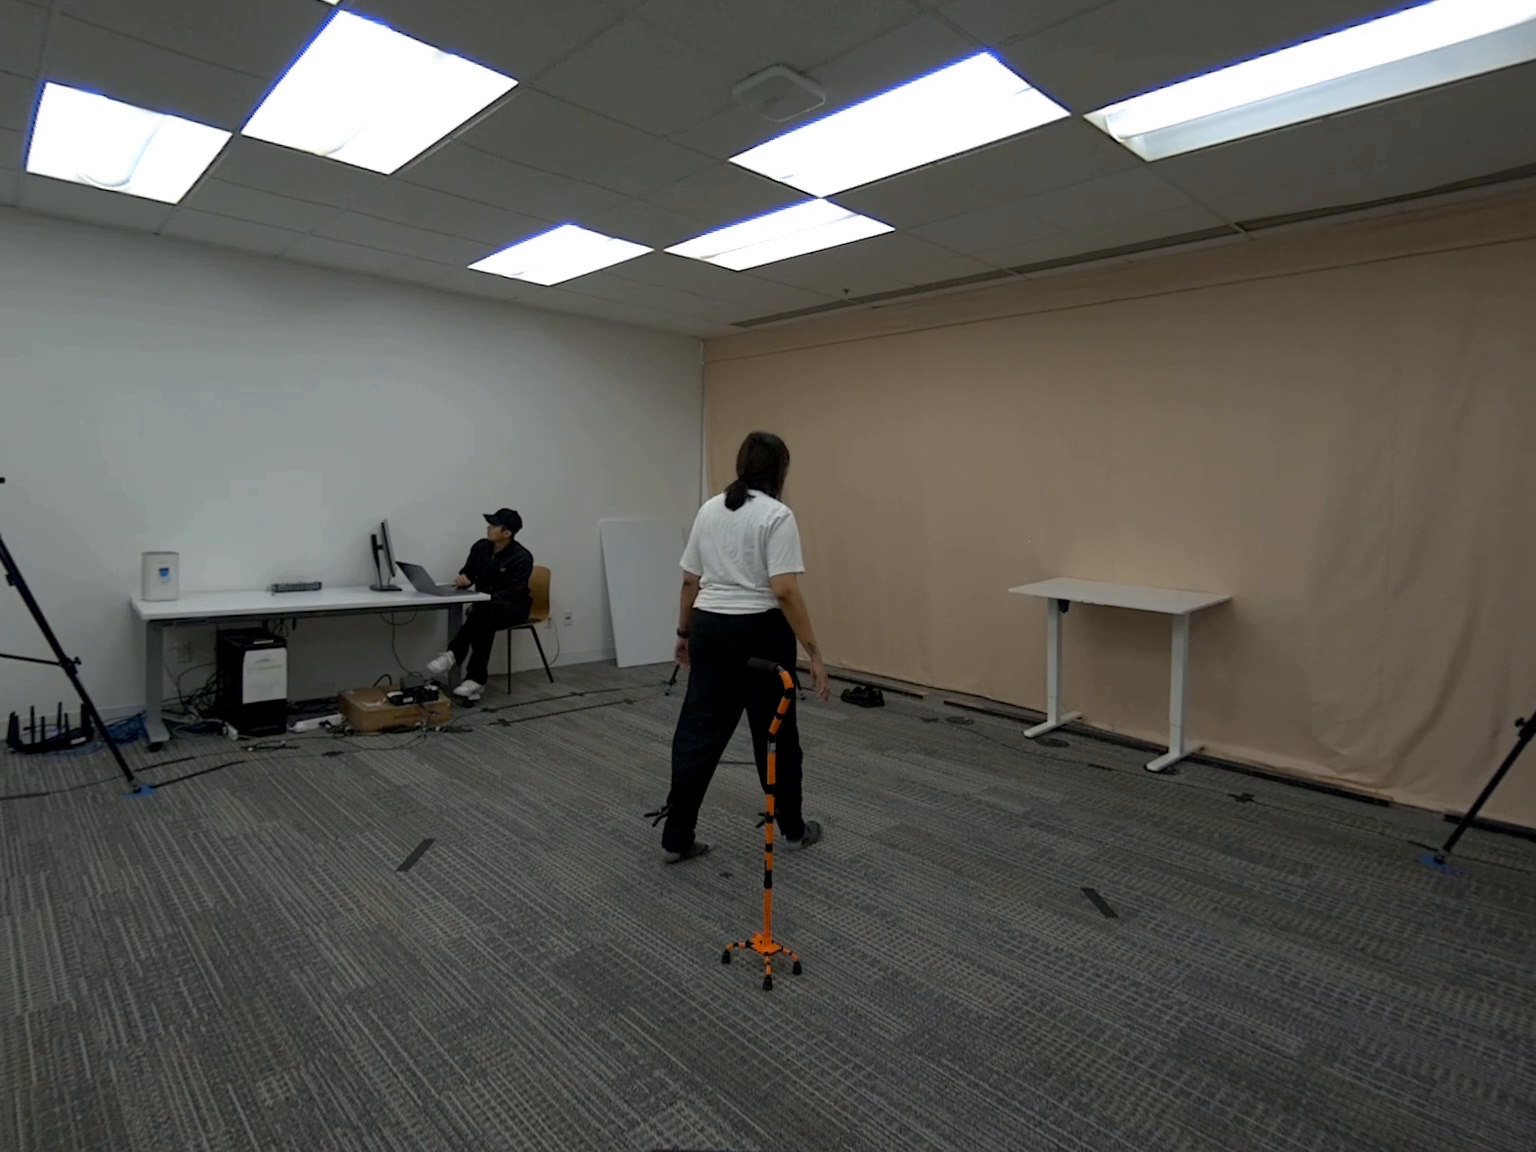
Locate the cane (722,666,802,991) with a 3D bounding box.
[{"bbox_3d":[-0.007,0.716,2.465,0.148,0.905,0.212,-1,6,-45],"label":"cane"}]
